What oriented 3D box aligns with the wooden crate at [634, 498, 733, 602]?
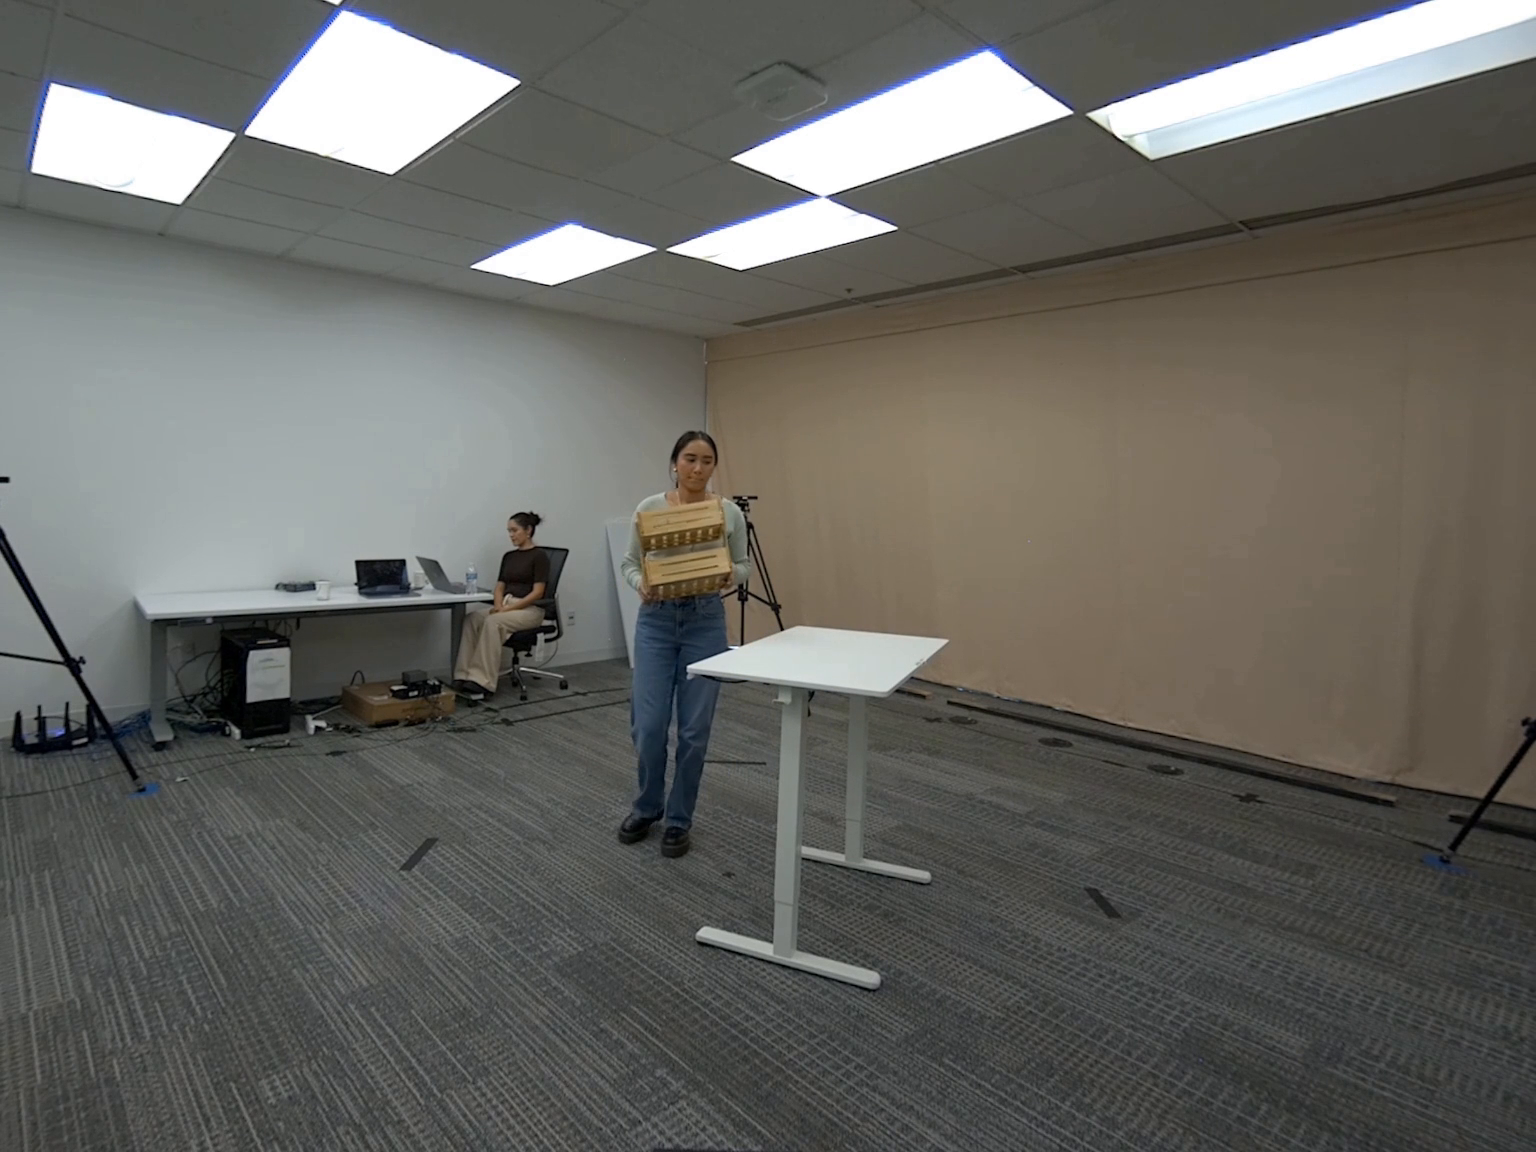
[{"bbox_3d":[-0.327,-0.088,3.110,0.322,0.277,0.300,-10,-16,-10],"label":"wooden crate"}]
